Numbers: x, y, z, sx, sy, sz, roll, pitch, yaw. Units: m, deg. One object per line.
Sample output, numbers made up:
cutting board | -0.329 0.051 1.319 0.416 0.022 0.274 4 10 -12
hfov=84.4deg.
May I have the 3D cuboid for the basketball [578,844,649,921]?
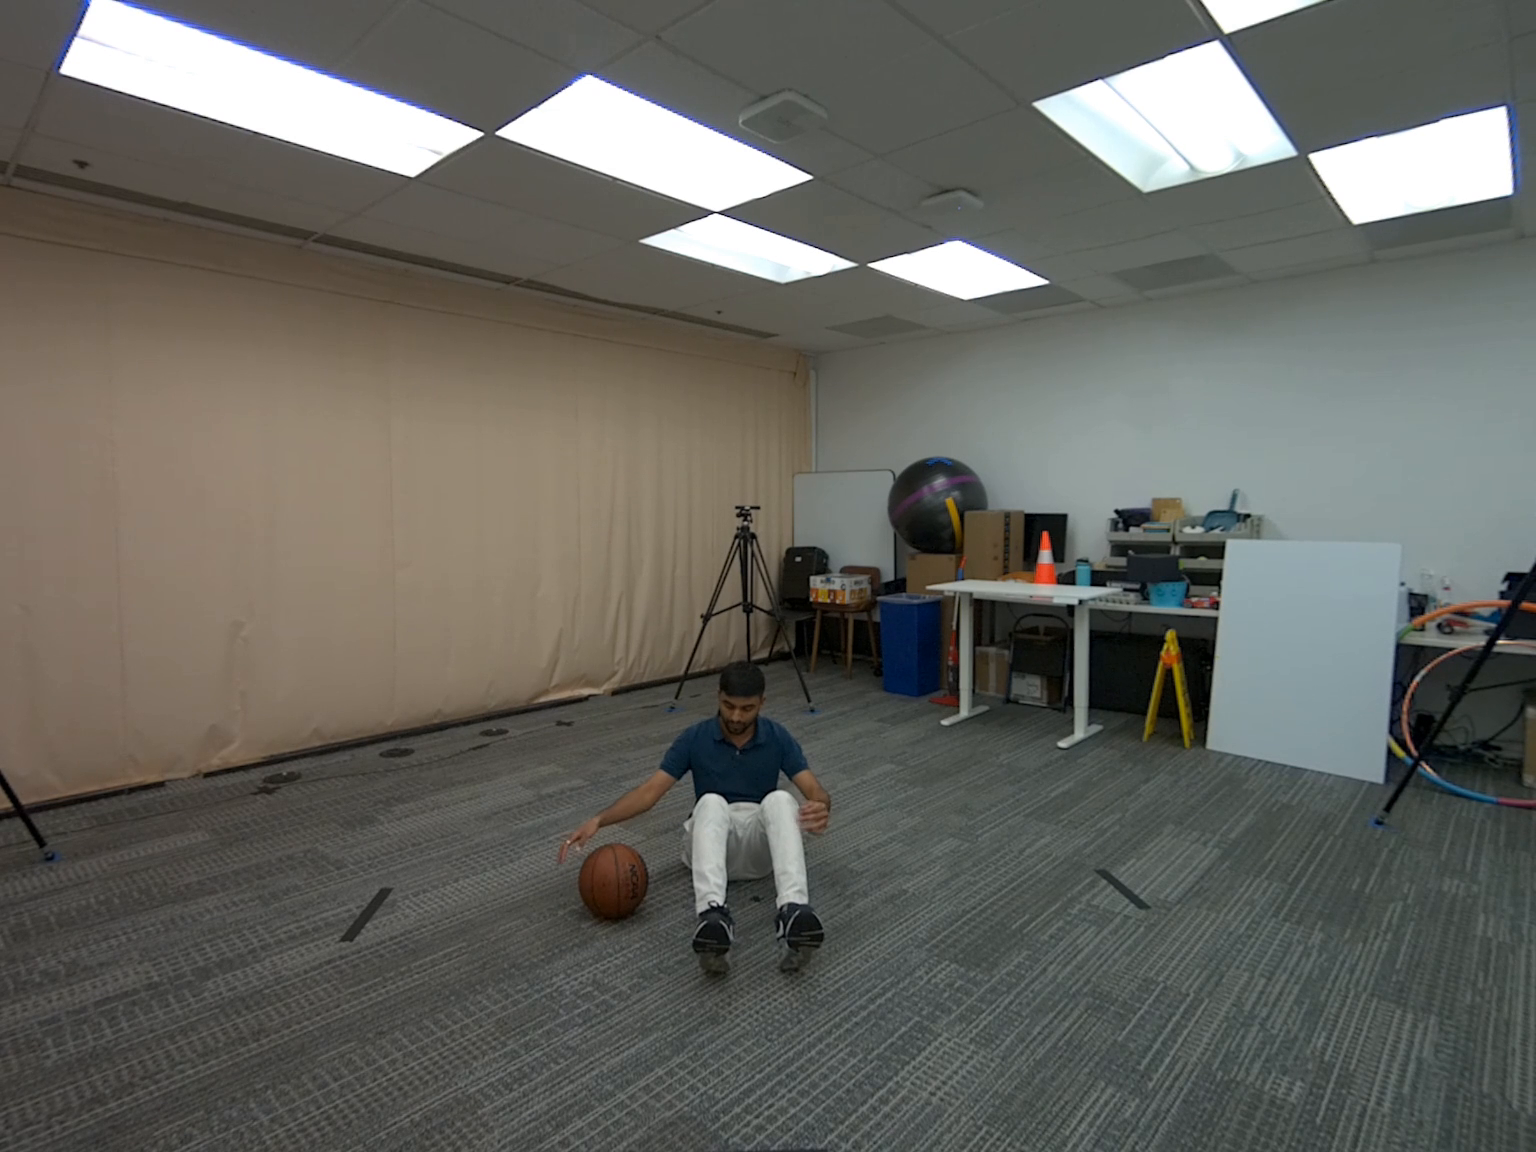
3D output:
basketball | -0.520 1.032 2.875 0.236 0.235 0.237 0 4 -2
